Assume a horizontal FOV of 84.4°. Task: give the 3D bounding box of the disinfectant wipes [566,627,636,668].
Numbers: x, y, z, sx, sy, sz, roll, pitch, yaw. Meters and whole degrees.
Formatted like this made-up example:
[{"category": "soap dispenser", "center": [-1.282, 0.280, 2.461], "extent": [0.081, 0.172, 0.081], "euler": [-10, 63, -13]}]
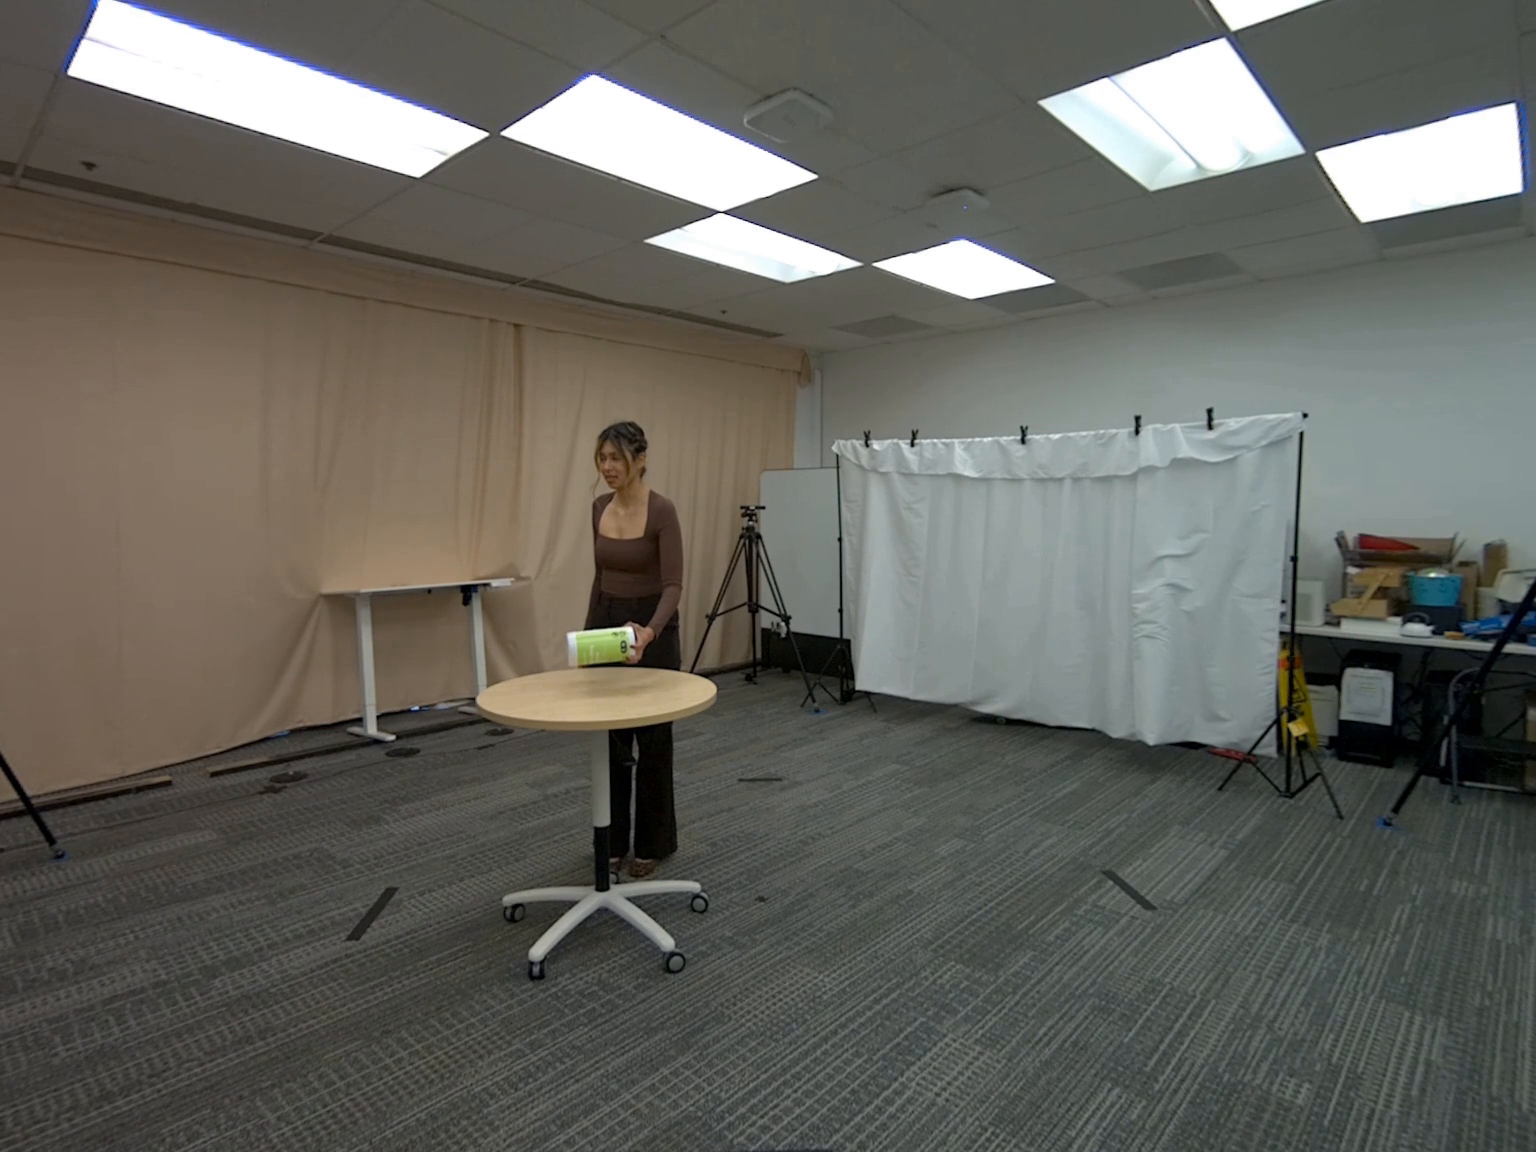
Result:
[{"category": "disinfectant wipes", "center": [-0.542, 0.228, 2.734], "extent": [0.214, 0.117, 0.120], "euler": [-4, 5, -16]}]
